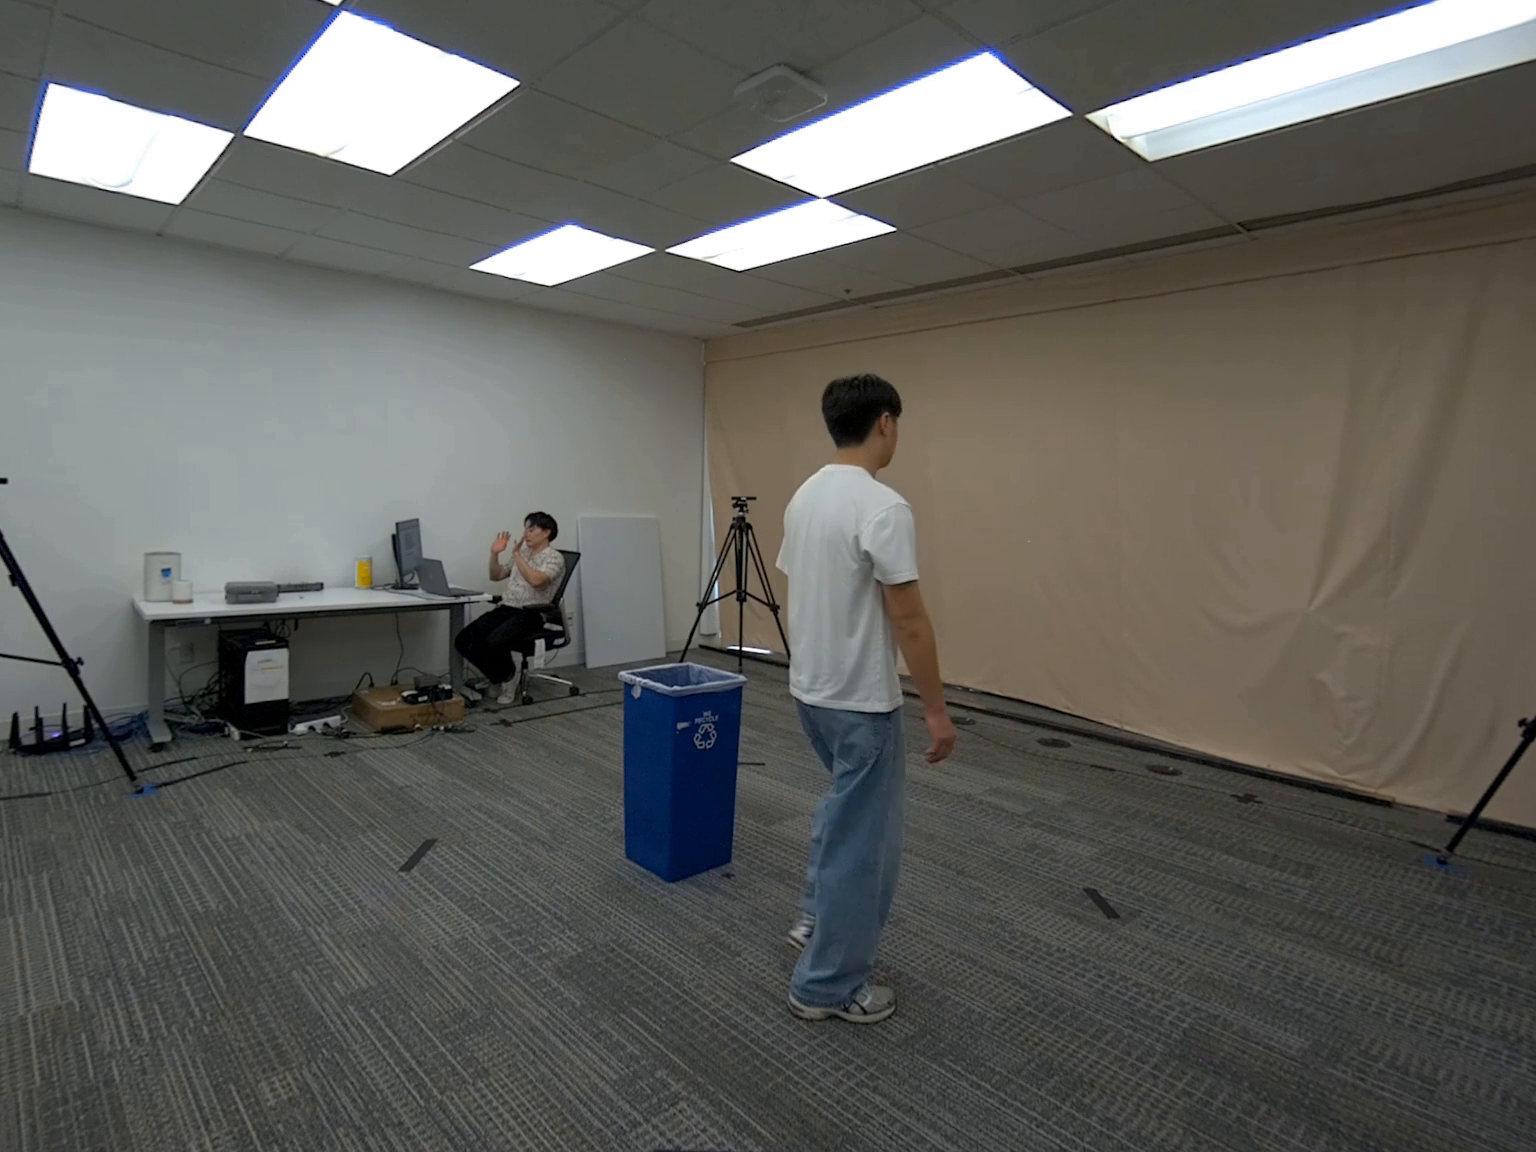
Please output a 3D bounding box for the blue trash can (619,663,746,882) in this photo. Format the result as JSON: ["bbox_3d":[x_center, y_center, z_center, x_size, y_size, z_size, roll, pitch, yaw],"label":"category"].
[{"bbox_3d":[-0.339,0.732,3.226,0.365,0.712,0.388,-2,5,-43],"label":"blue trash can"}]
